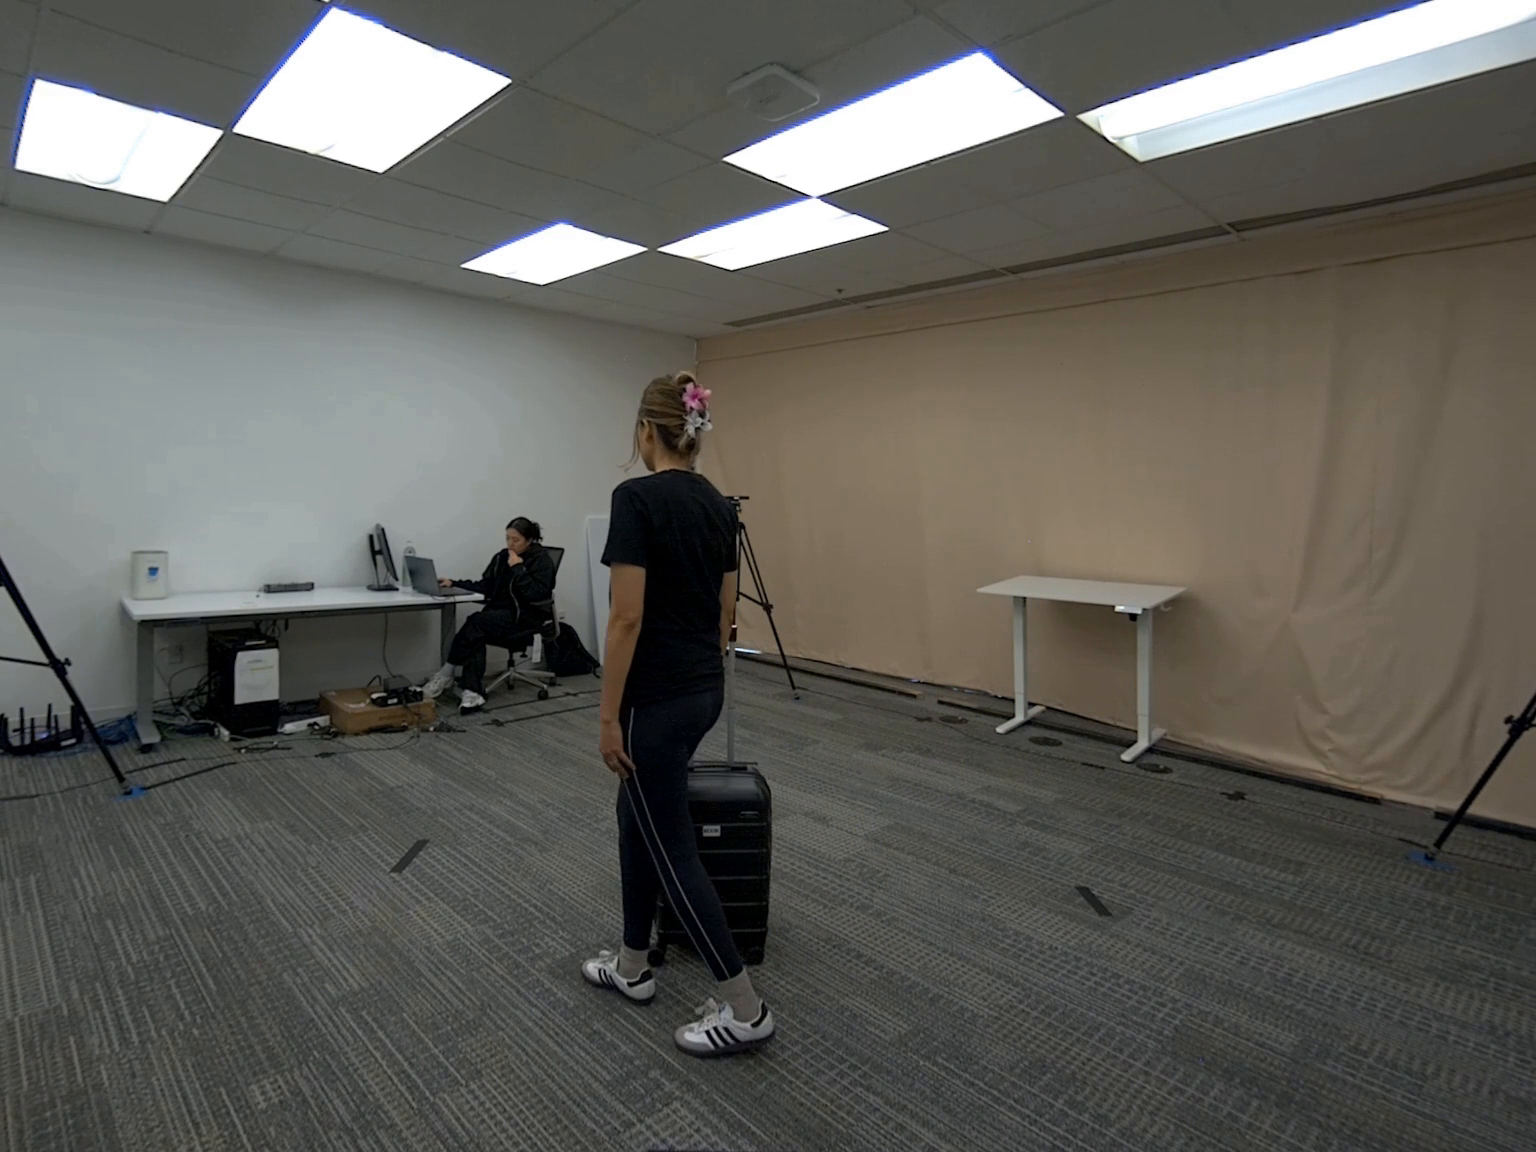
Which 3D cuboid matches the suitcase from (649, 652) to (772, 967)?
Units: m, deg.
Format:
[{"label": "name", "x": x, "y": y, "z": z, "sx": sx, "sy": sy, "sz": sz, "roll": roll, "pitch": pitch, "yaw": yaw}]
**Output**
[{"label": "suitcase", "x": -0.174, "y": 0.672, "z": 2.591, "sx": 0.383, "sy": 0.975, "sz": 0.259, "roll": 0, "pitch": 5, "yaw": -4}]
